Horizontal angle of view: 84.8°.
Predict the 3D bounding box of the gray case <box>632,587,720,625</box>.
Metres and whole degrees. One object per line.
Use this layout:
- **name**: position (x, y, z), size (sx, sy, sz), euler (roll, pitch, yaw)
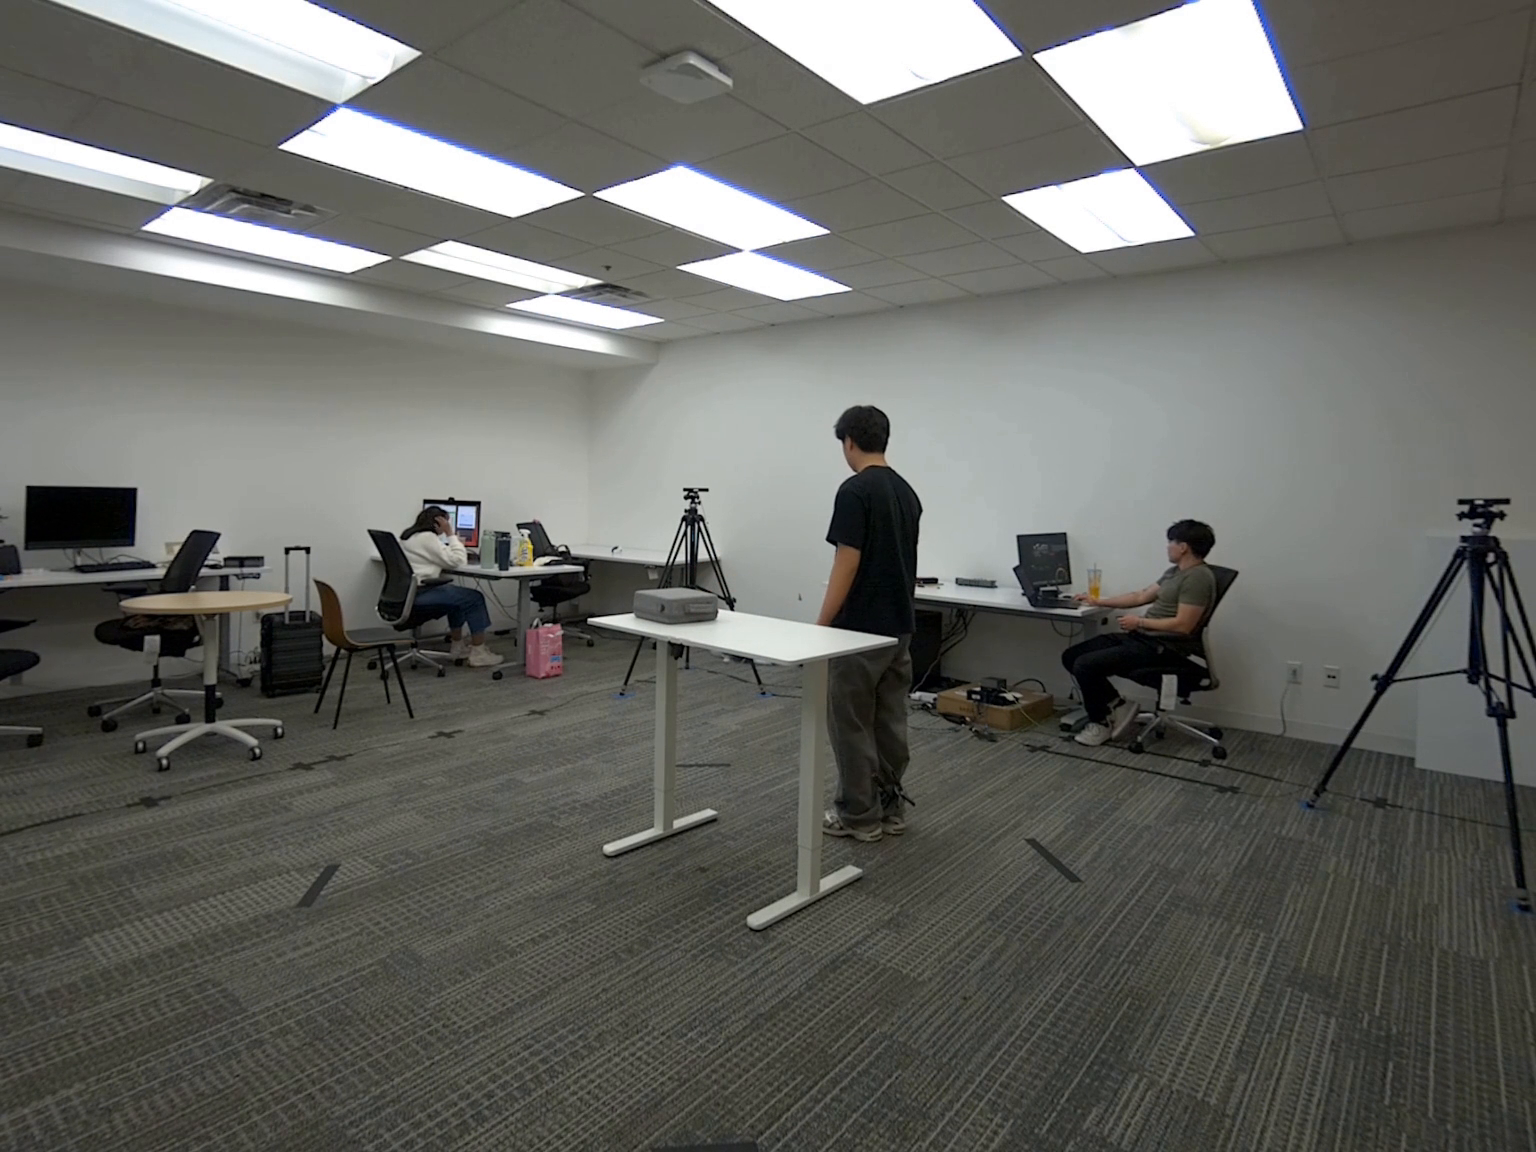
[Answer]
- **gray case**: position (-0.365, 0.112, 3.292), size (0.255, 0.103, 0.297), euler (-2, 7, -41)
